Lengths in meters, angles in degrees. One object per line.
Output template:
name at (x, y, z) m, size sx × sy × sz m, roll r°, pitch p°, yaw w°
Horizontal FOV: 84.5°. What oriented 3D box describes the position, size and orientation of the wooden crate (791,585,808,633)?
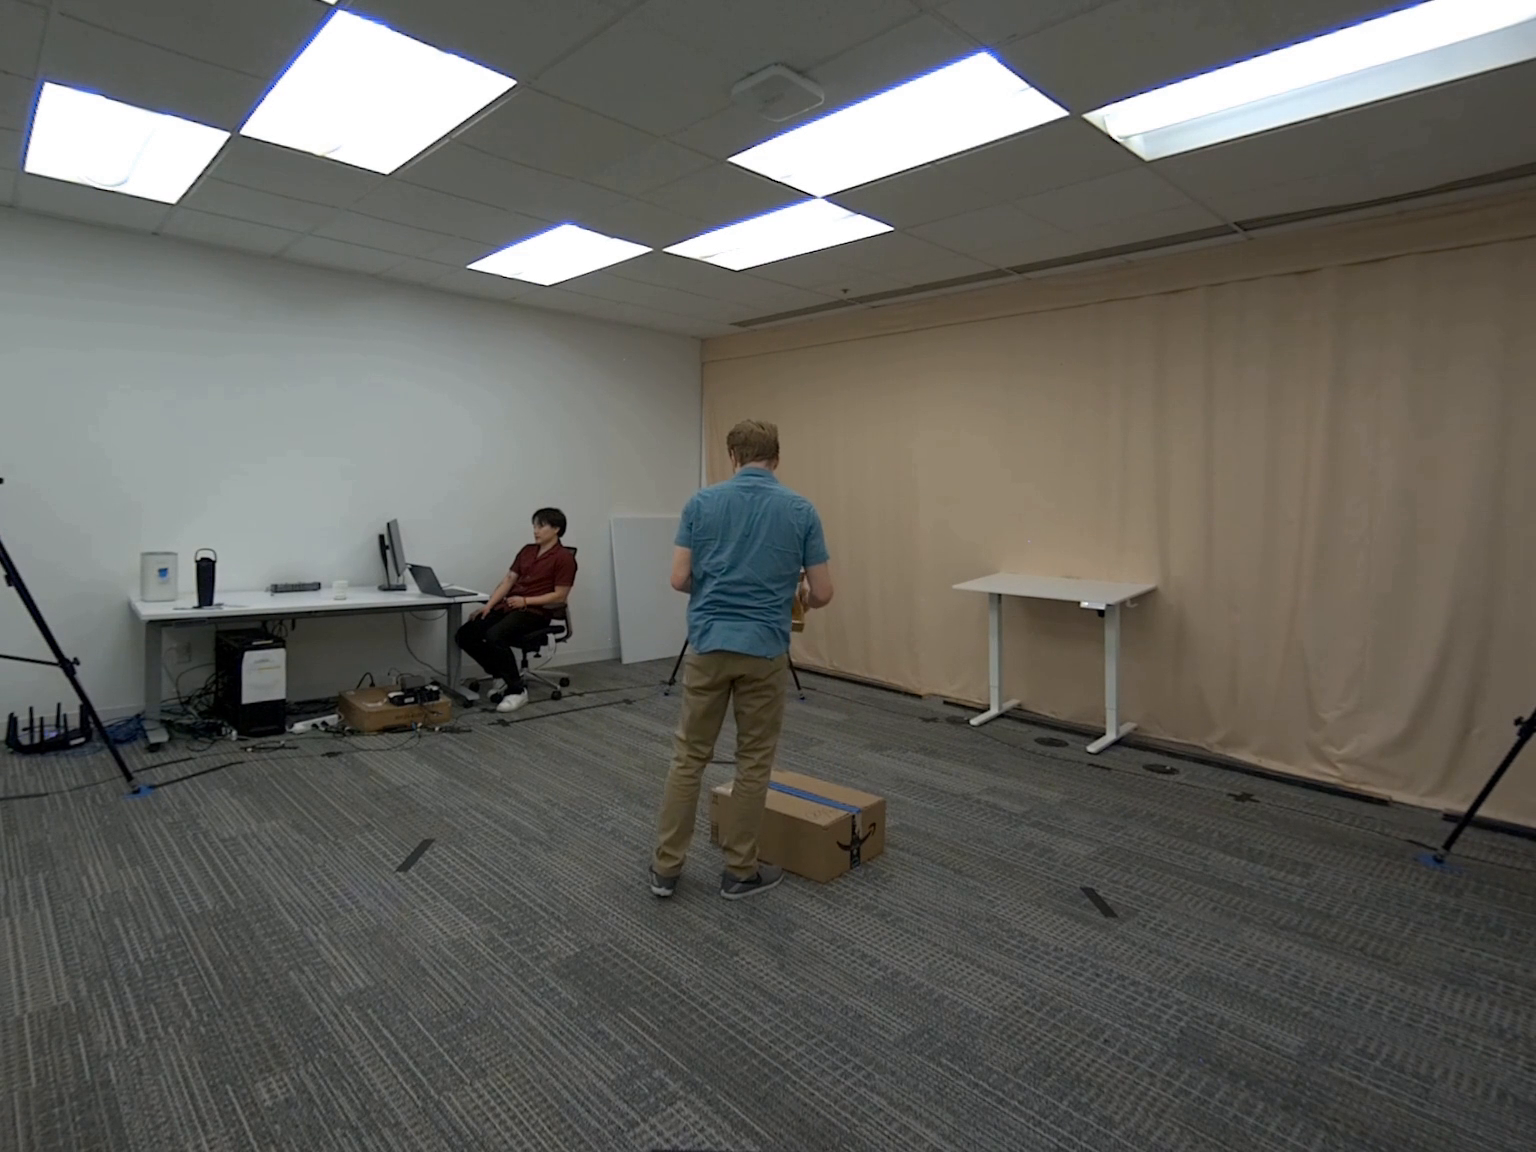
wooden crate at (-0.028, 0.038, 3.226) m, size 0.324 × 0.271 × 0.305 m, roll 6°, pitch 14°, yaw -3°
